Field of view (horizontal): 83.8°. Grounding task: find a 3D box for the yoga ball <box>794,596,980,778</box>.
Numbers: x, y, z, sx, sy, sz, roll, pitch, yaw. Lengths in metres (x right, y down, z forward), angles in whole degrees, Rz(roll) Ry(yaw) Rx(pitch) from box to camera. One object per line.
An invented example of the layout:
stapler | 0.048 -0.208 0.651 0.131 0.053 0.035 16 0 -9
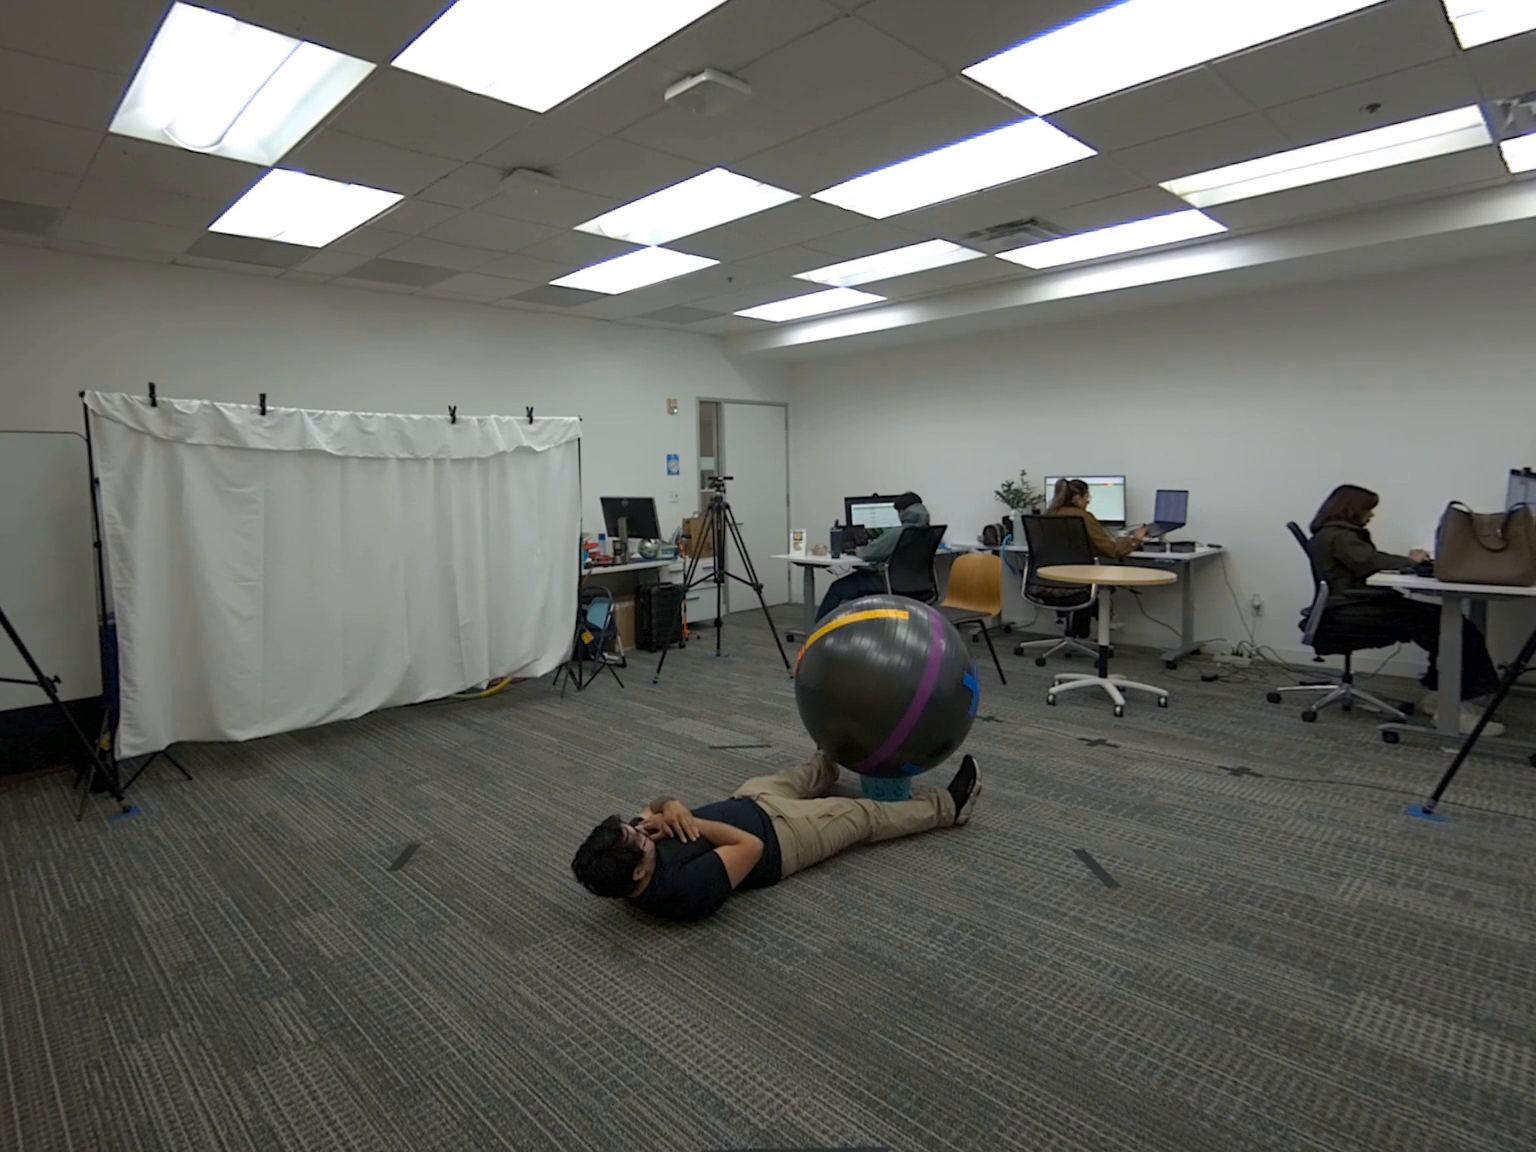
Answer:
yoga ball | 0.493 0.462 3.586 0.757 0.755 0.762 -1 5 -2
